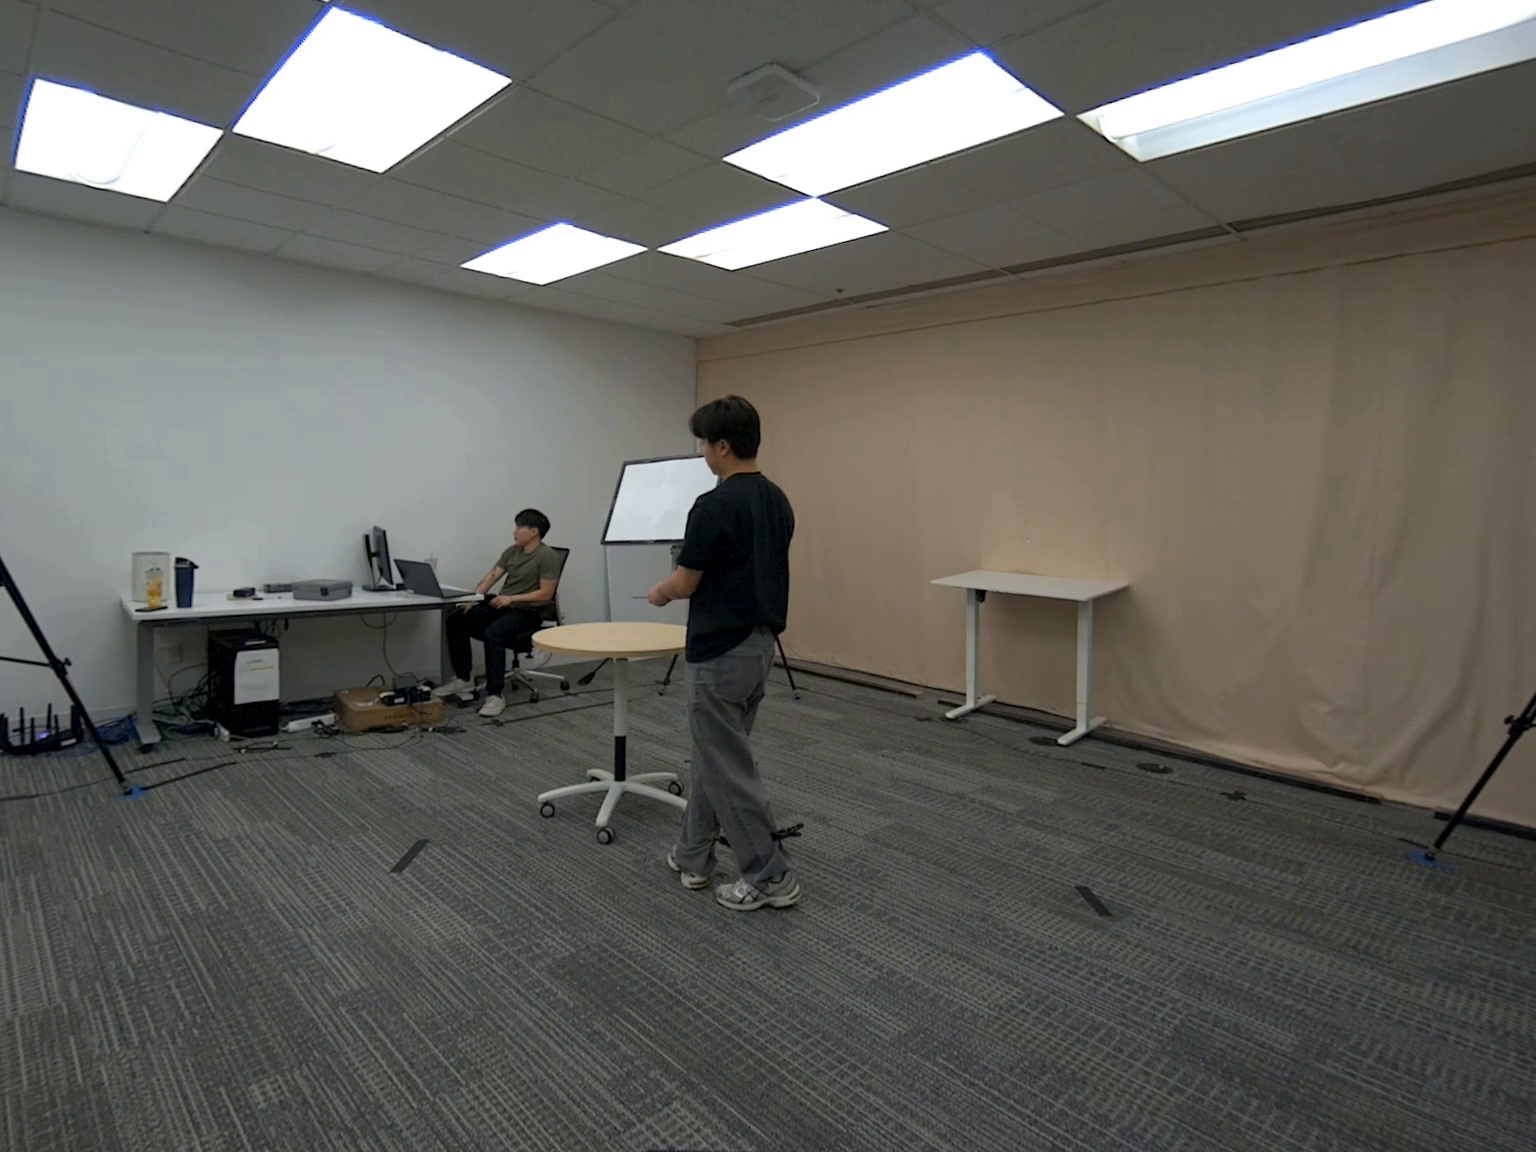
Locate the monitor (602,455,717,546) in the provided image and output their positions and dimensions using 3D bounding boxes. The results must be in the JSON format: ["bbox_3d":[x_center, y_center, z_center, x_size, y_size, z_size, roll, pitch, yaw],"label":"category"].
[{"bbox_3d":[-0.385,-0.183,3.216,0.575,0.567,0.216,-2,-4,41],"label":"monitor"}]
